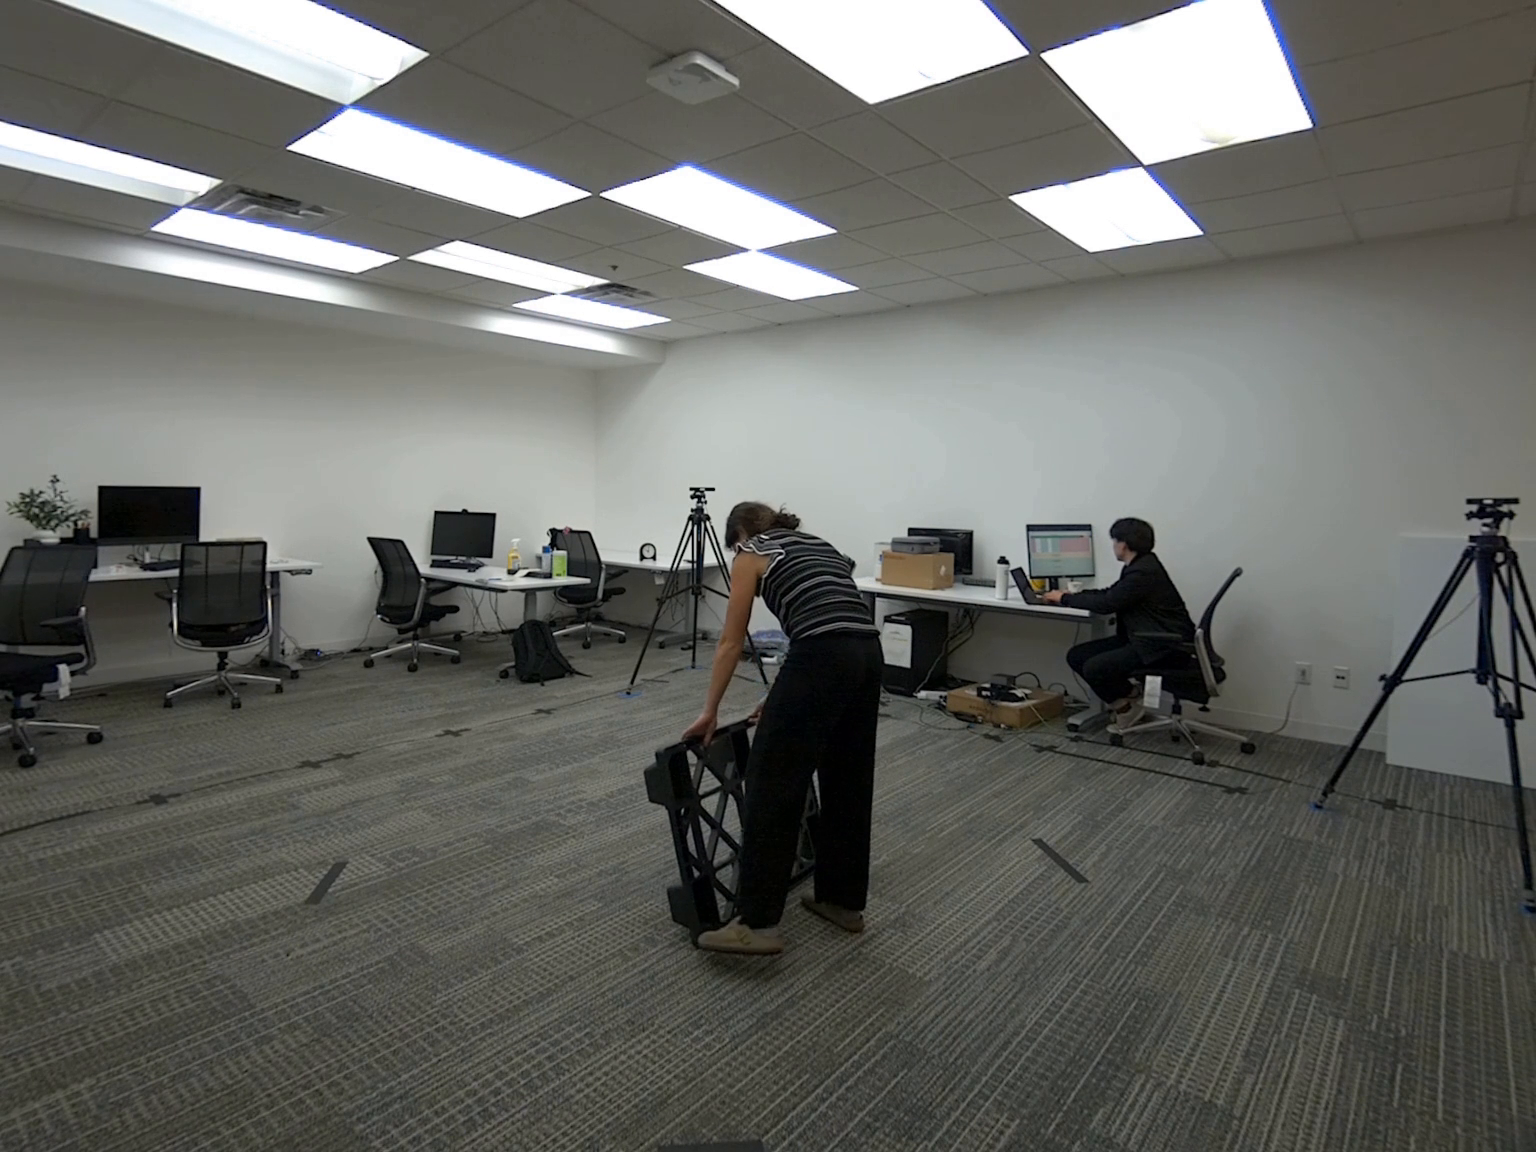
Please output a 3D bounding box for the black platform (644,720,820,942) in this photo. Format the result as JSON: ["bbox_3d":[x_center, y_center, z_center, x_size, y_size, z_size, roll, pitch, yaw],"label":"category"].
[{"bbox_3d":[-0.105,0.803,2.928,0.146,0.610,0.783,-18,-7,33],"label":"black platform"}]
